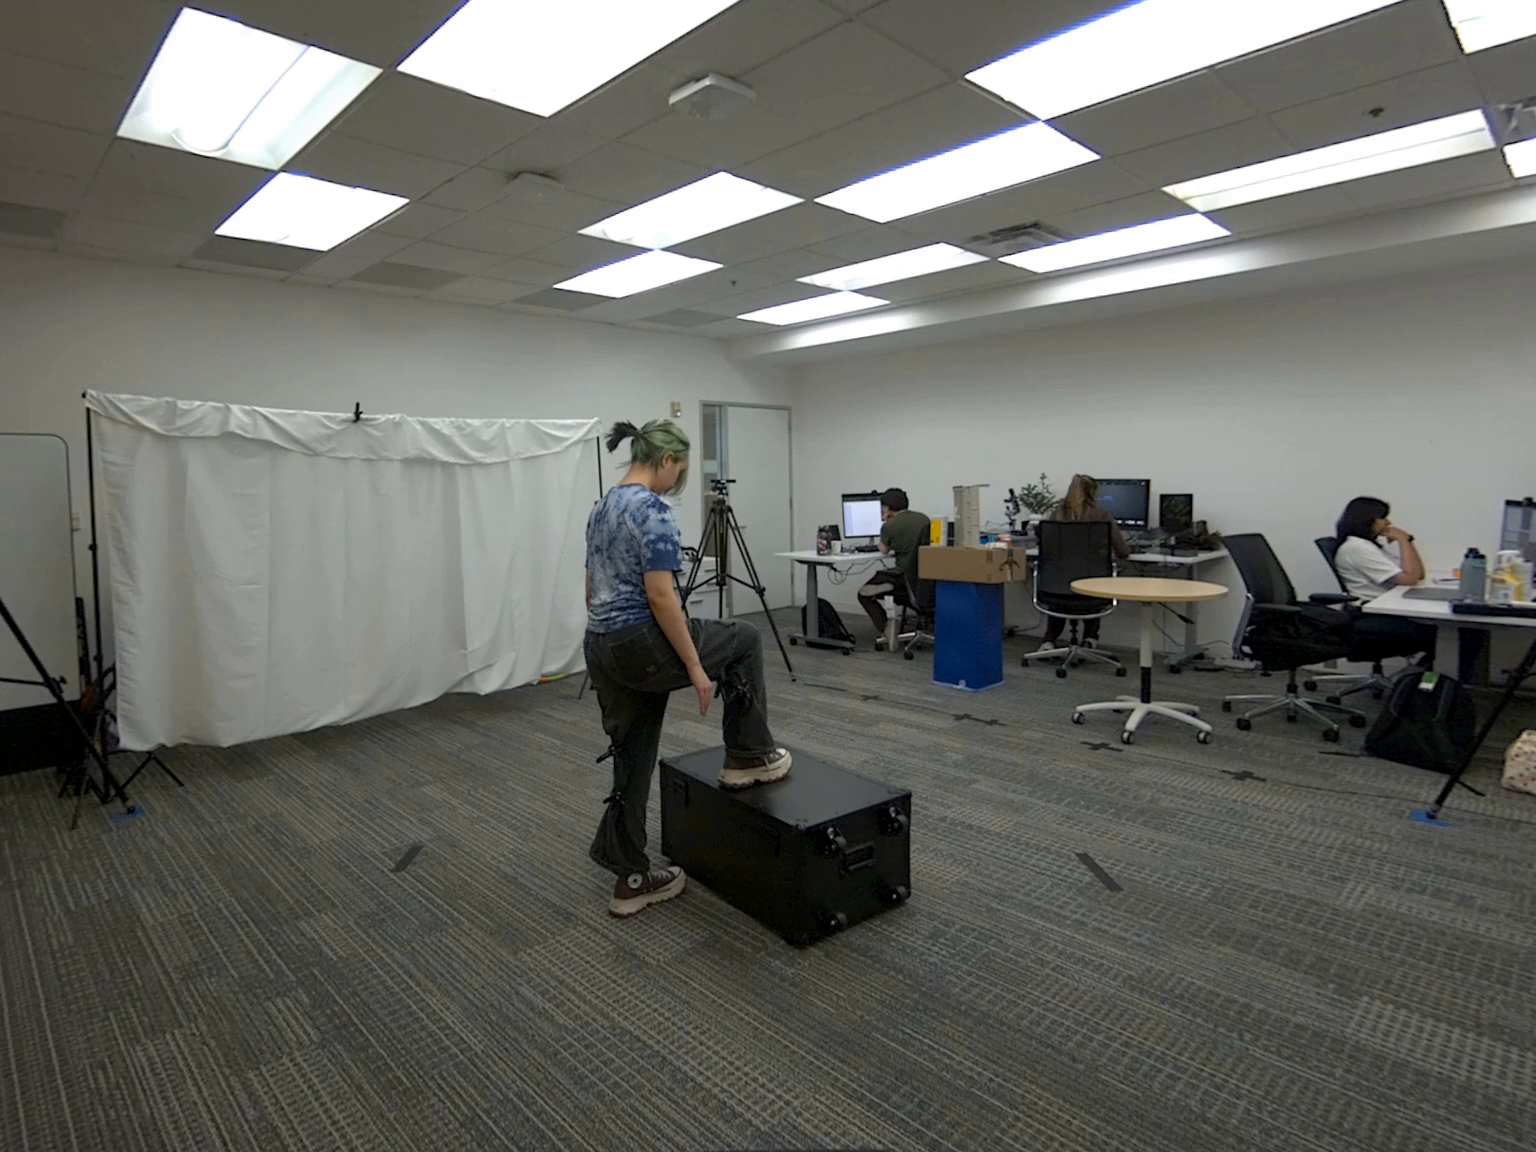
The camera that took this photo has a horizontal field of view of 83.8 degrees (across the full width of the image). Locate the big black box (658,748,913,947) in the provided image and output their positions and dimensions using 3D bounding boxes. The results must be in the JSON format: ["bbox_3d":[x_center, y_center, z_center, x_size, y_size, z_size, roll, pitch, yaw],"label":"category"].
[{"bbox_3d":[0.054,0.875,2.931,0.508,0.395,0.887,-5,7,-37],"label":"big black box"}]
